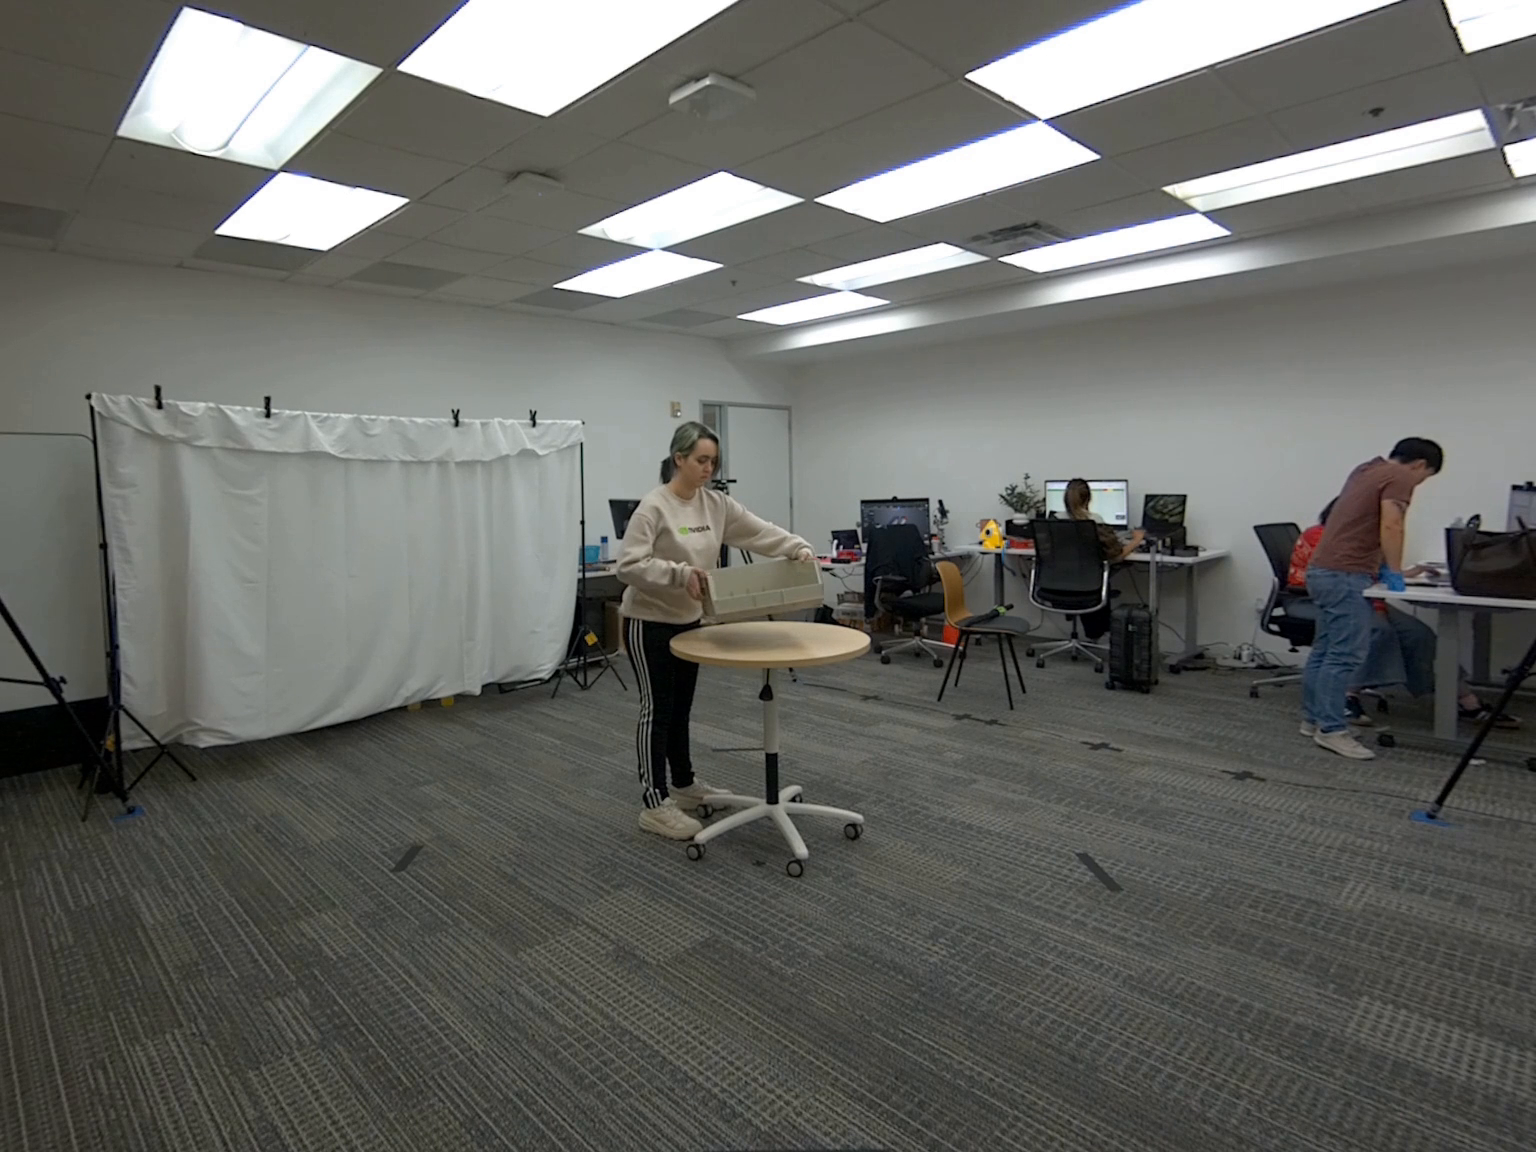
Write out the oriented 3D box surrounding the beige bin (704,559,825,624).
[{"bbox_3d":[-0.044,0.053,3.218,0.418,0.189,0.381,-10,2,-12],"label":"beige bin"}]
